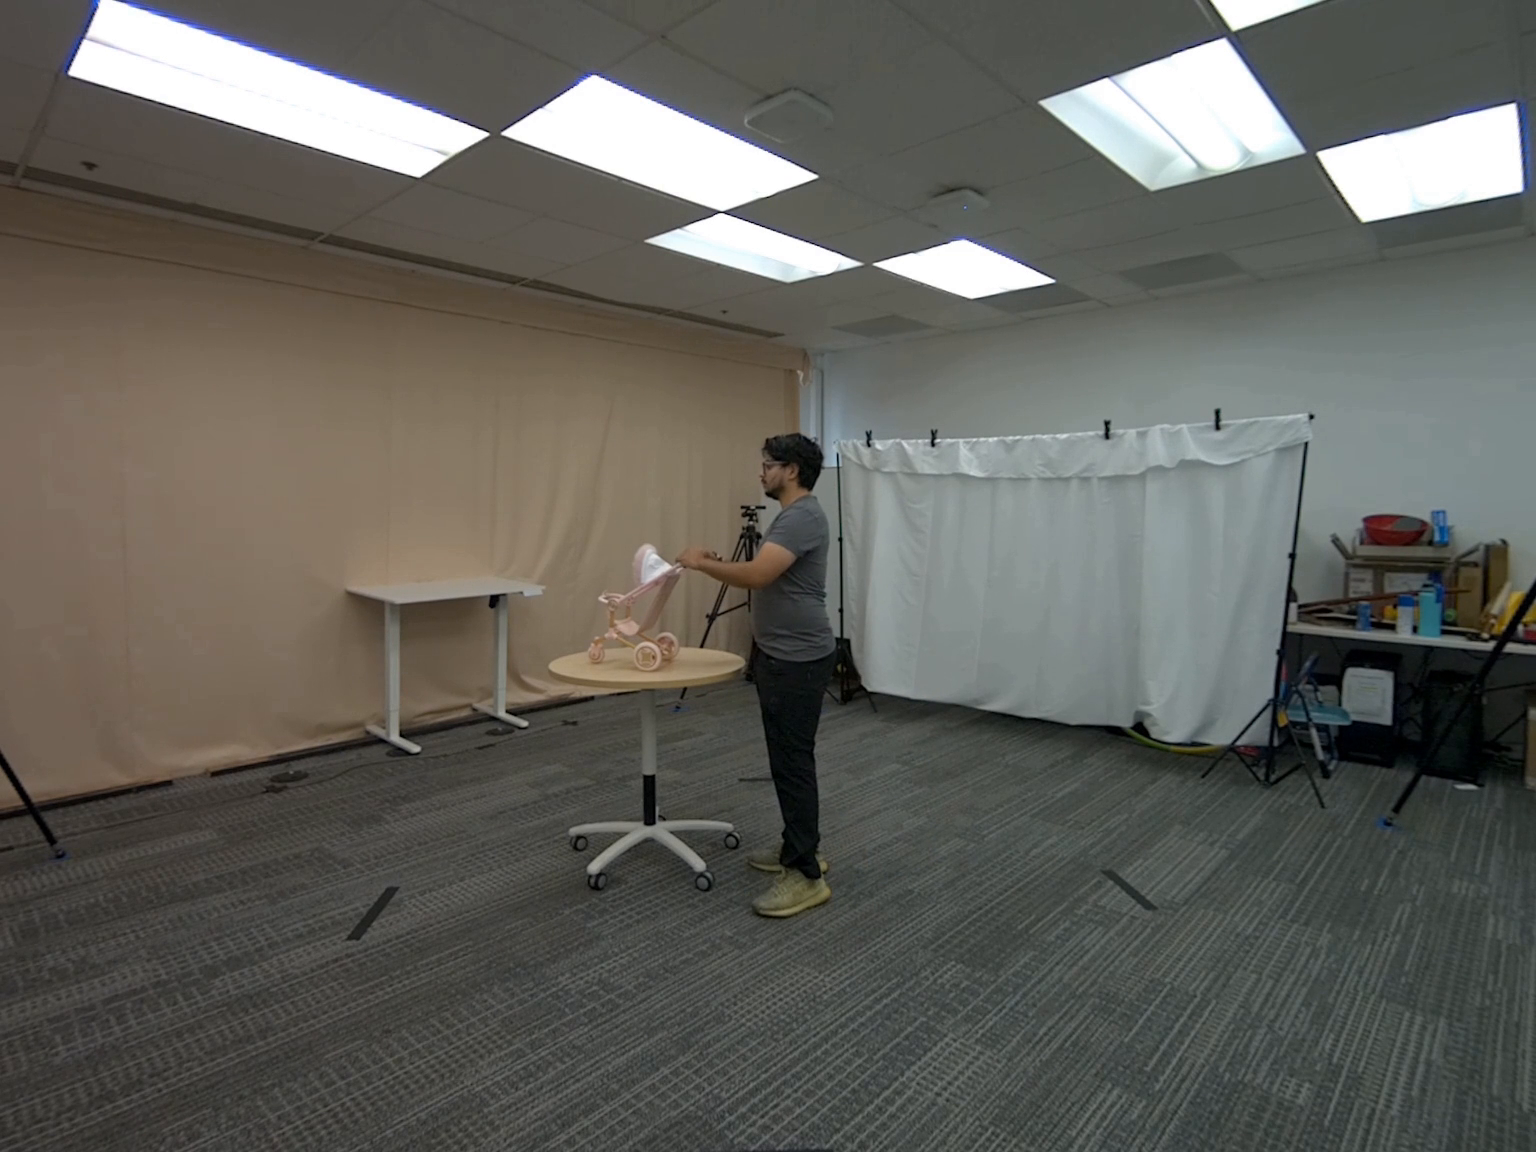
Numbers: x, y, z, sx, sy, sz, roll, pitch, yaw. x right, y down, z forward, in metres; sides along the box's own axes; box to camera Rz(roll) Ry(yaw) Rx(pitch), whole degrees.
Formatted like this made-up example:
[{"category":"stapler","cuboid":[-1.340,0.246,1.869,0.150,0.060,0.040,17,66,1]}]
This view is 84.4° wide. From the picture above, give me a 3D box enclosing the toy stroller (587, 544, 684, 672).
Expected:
[{"category":"toy stroller","cuboid":[-0.488,0.122,3.240,0.348,0.534,0.277,17,7,15]}]
